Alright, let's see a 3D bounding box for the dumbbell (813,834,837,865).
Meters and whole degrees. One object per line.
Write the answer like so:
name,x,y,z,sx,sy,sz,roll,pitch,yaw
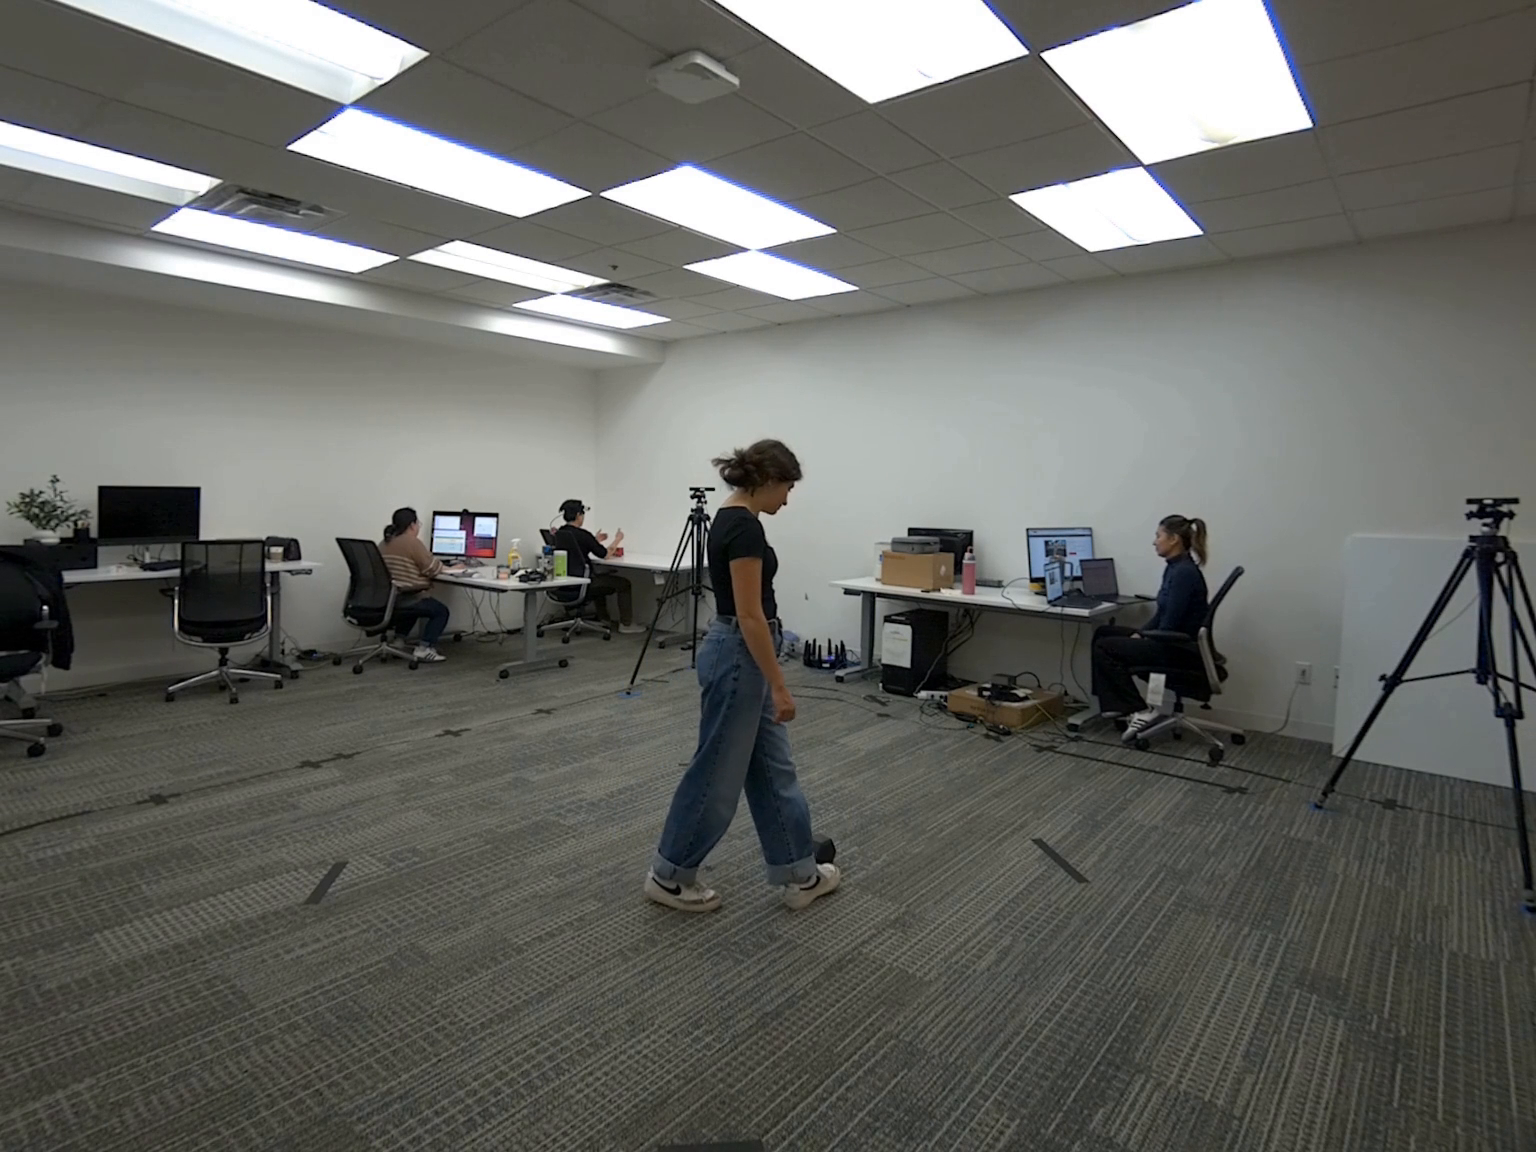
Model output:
dumbbell,0.103,1.002,3.217,0.304,0.124,0.104,6,-26,44
